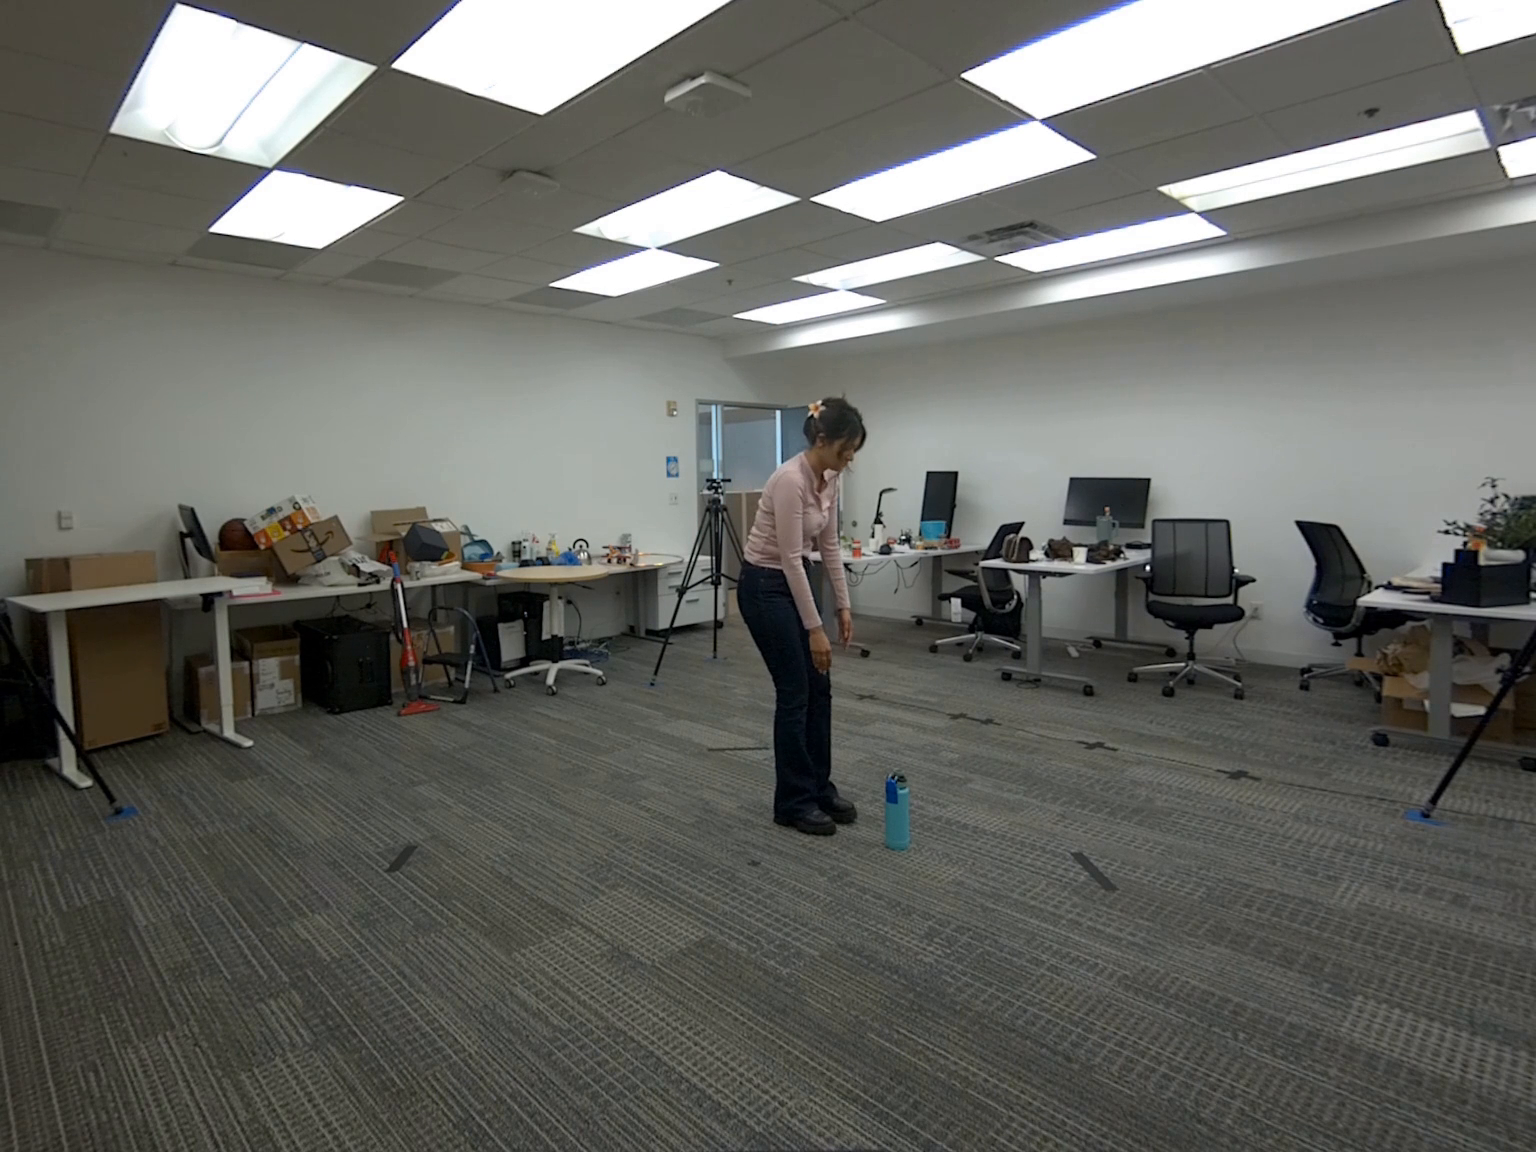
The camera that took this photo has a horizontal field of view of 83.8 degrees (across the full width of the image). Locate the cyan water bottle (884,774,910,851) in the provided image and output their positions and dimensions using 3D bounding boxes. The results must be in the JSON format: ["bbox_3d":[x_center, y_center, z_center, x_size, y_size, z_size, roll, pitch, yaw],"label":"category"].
[{"bbox_3d":[0.498,0.882,3.225,0.092,0.282,0.093,-2,4,-2],"label":"cyan water bottle"}]
